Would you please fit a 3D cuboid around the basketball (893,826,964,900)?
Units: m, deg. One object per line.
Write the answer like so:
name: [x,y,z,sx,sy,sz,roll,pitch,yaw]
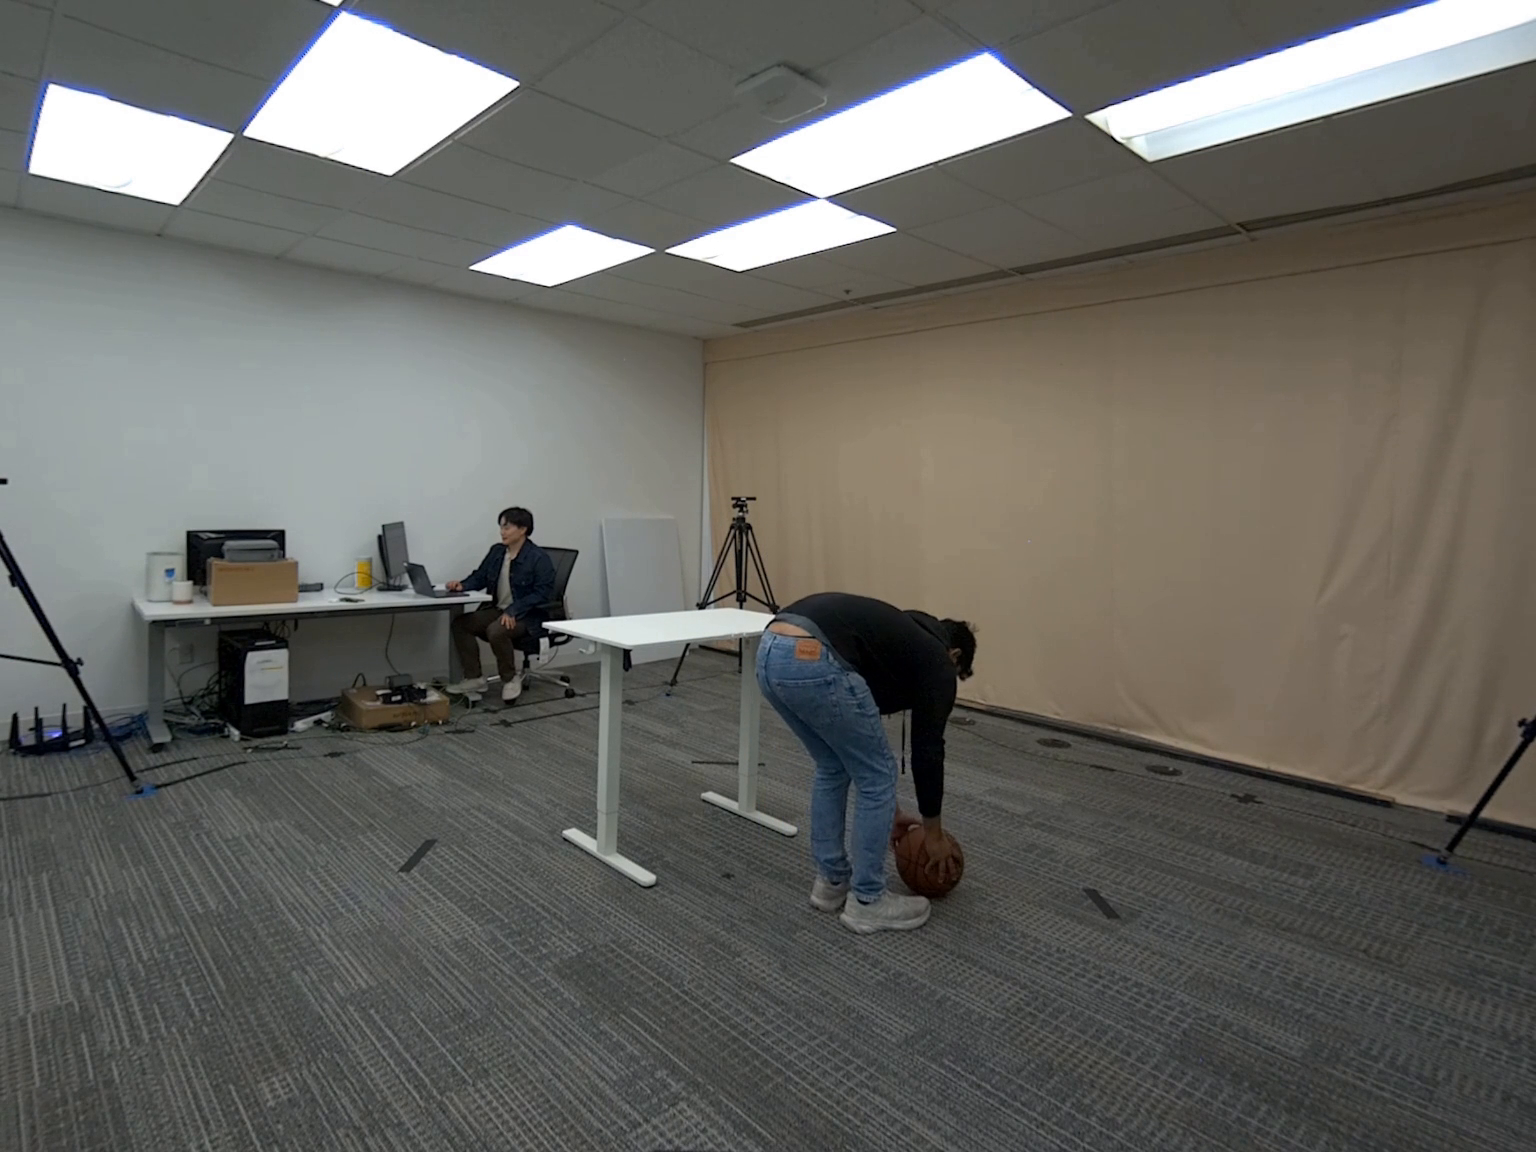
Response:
basketball: [0.568,1.004,3.005,0.236,0.235,0.237,1,4,-1]
